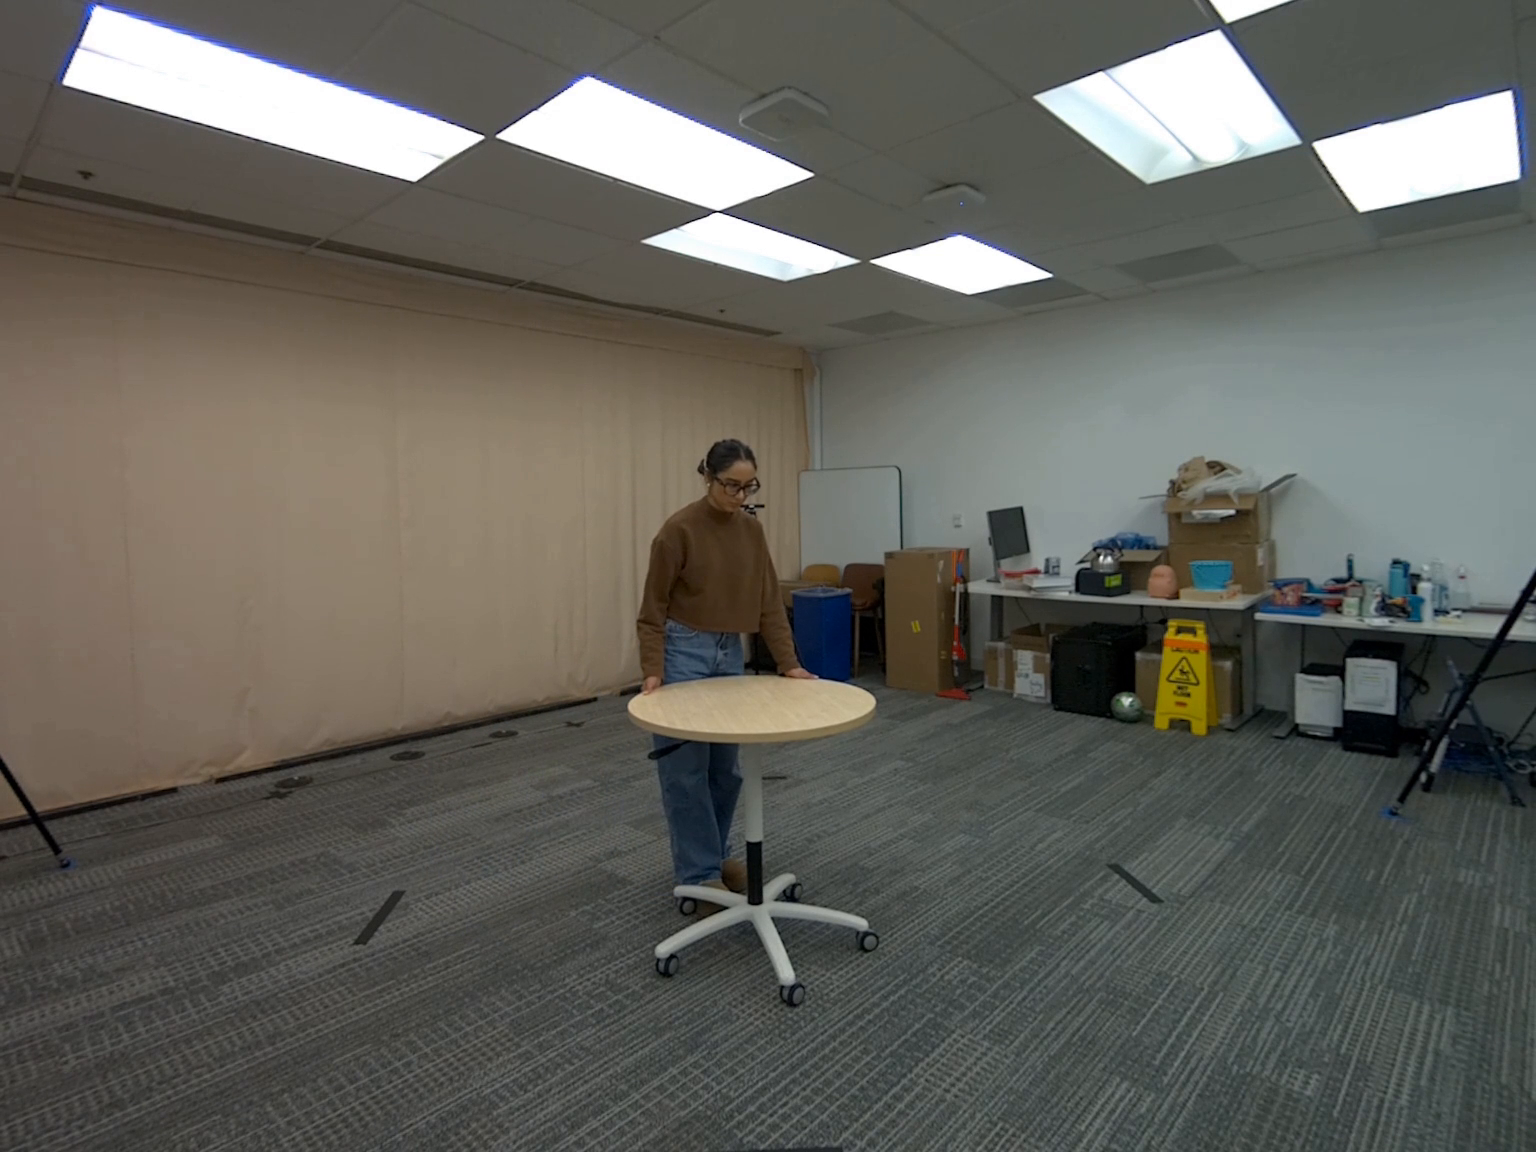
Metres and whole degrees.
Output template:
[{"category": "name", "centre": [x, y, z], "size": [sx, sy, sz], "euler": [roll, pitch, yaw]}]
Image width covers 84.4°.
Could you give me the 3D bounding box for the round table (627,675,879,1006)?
[{"category": "round table", "centre": [-0.037, 0.781, 2.640], "size": [0.763, 0.792, 0.767], "euler": [-1, 4, -2]}]
